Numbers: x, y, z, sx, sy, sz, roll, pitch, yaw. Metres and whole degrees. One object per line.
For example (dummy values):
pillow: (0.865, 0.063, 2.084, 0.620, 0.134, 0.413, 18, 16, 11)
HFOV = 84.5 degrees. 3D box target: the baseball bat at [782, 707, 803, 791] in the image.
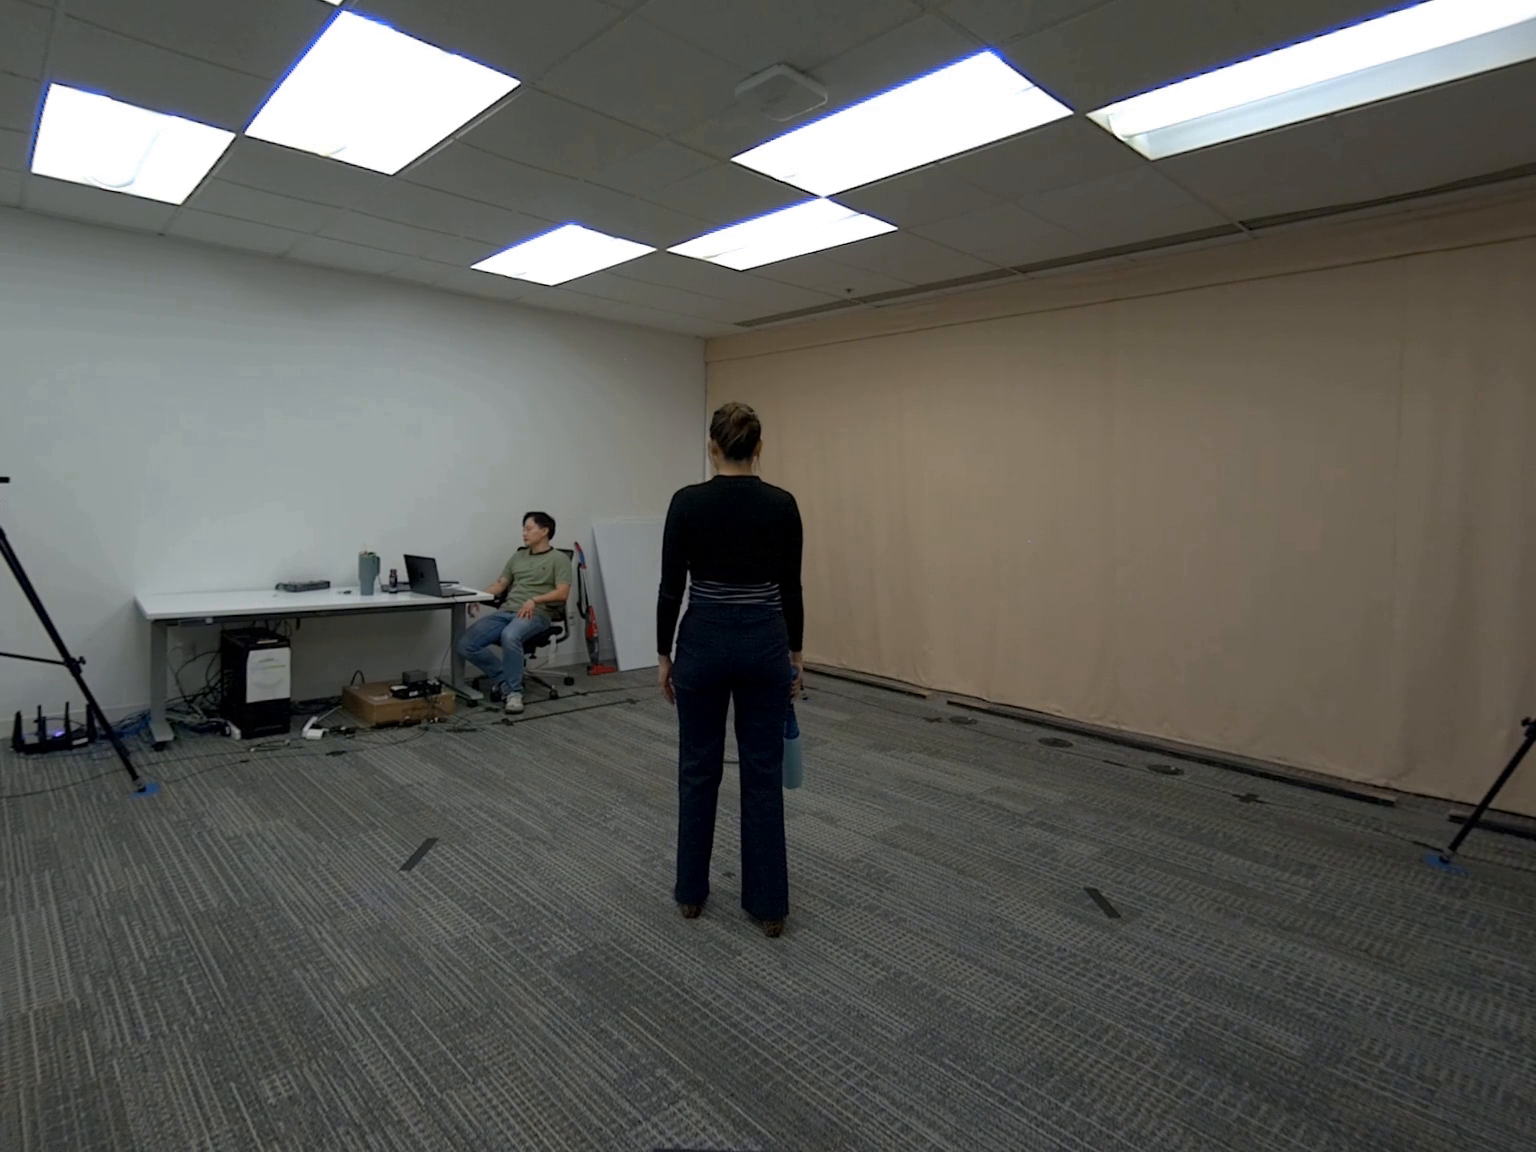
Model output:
baseball bat: (0.079, 0.558, 3.041, 0.089, 0.532, 0.091, -1, 31, 0)
